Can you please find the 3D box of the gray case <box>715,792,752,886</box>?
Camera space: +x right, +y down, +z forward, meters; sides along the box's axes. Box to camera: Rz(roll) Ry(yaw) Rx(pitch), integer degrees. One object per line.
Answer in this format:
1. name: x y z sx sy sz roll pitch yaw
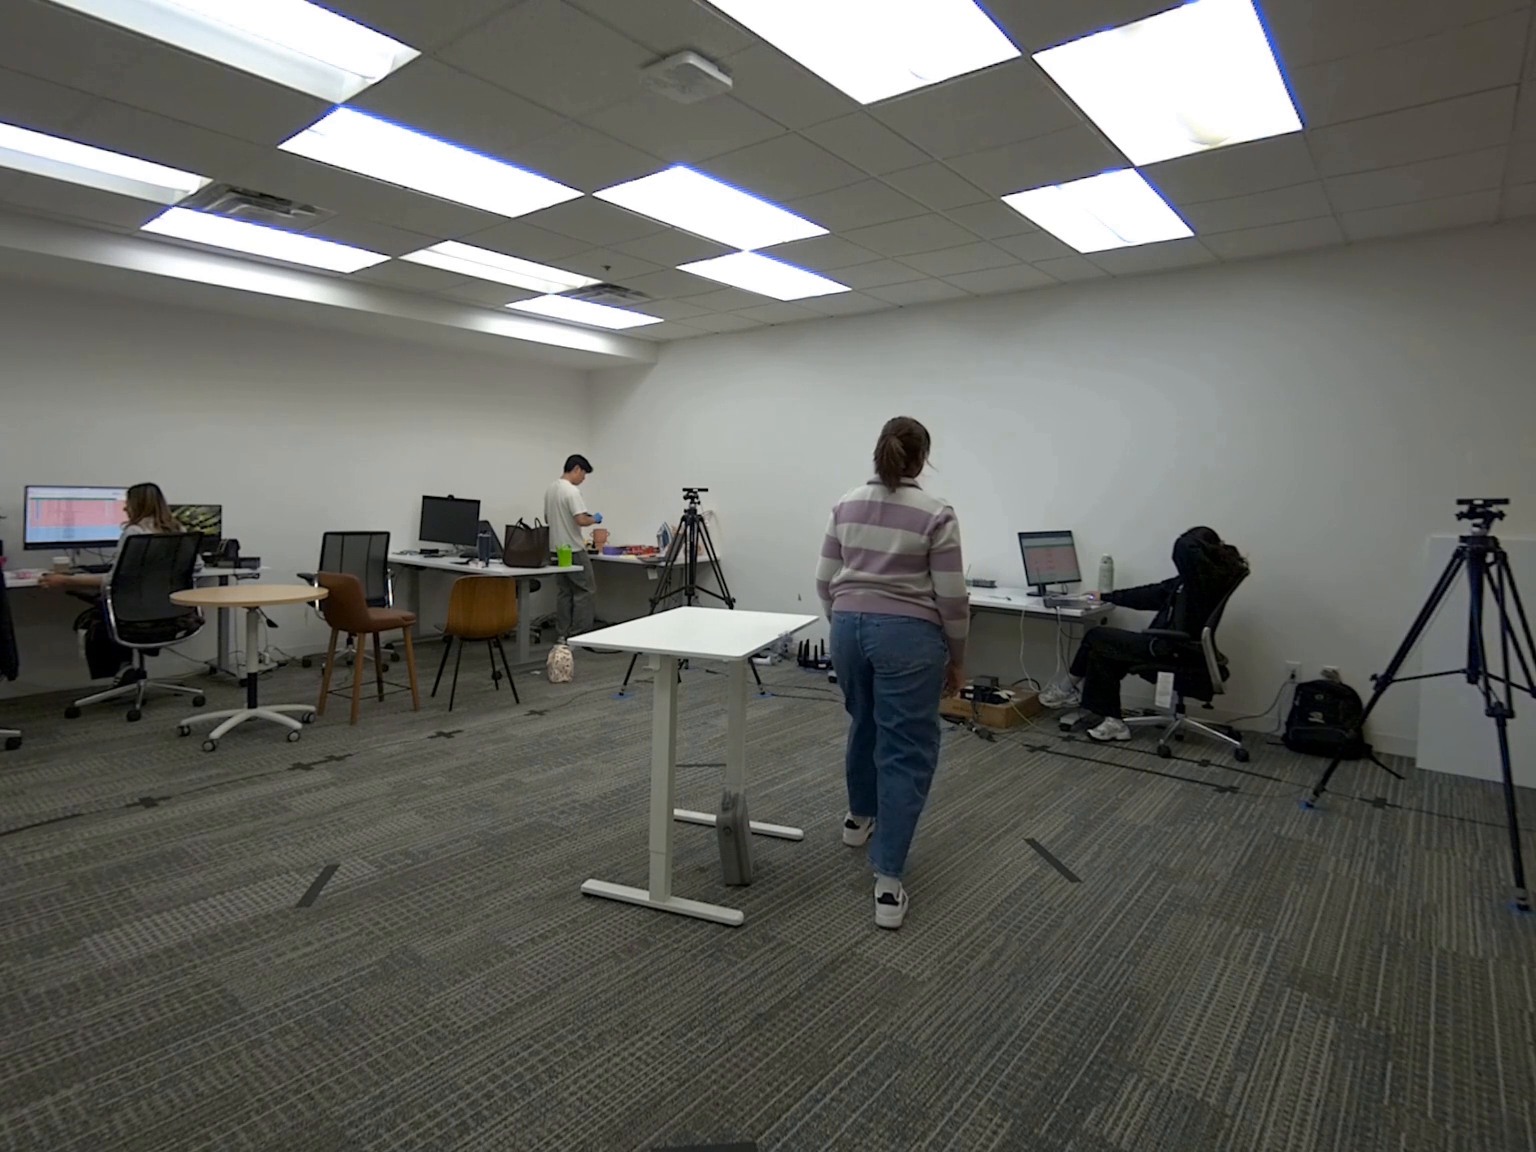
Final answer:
1. gray case: -0.131 0.940 3.073 0.104 0.260 0.257 -6 2 0
